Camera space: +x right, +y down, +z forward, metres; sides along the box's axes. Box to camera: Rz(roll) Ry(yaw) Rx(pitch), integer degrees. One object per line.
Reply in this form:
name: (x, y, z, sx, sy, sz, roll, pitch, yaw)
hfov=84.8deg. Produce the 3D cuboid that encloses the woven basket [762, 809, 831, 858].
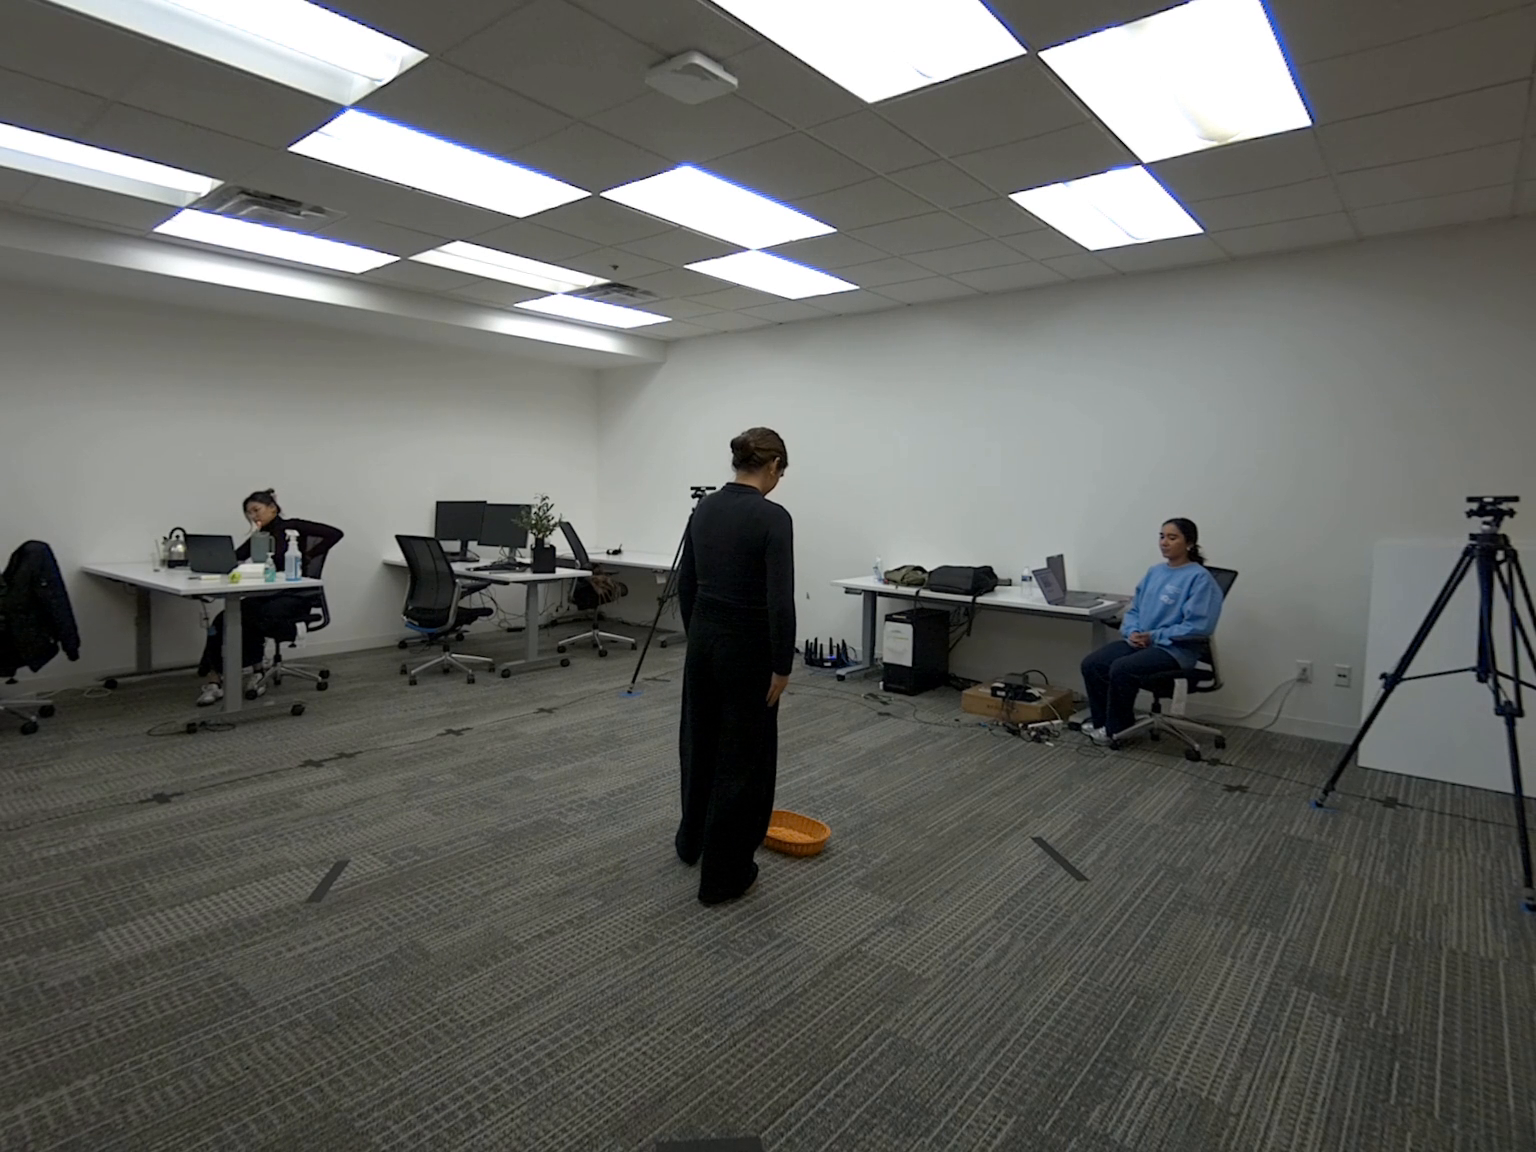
woven basket: (0.072, 1.009, 3.338, 0.362, 0.073, 0.245, 6, 8, 40)
